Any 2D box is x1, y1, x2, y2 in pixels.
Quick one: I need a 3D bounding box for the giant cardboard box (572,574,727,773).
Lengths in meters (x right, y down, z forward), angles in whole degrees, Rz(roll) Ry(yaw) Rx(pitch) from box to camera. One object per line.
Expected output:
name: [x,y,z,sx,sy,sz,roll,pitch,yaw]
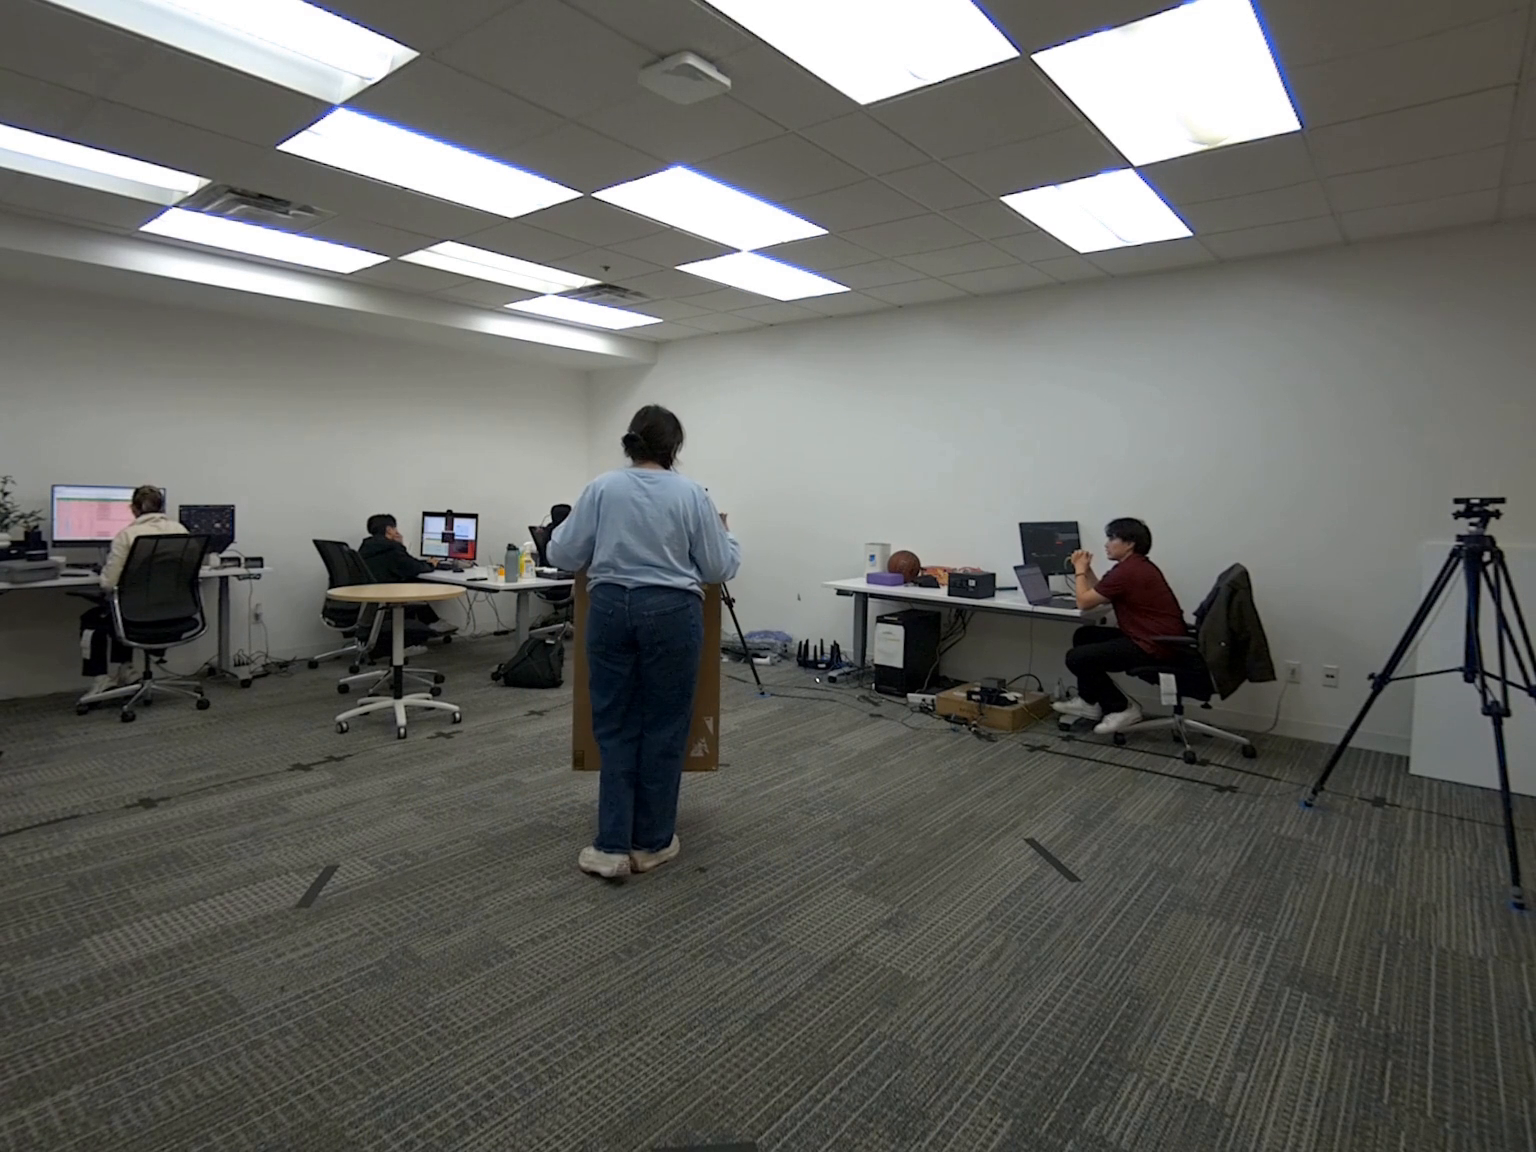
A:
giant cardboard box: [-0.504,0.238,3.513,0.583,1.023,0.449,1,4,-2]
